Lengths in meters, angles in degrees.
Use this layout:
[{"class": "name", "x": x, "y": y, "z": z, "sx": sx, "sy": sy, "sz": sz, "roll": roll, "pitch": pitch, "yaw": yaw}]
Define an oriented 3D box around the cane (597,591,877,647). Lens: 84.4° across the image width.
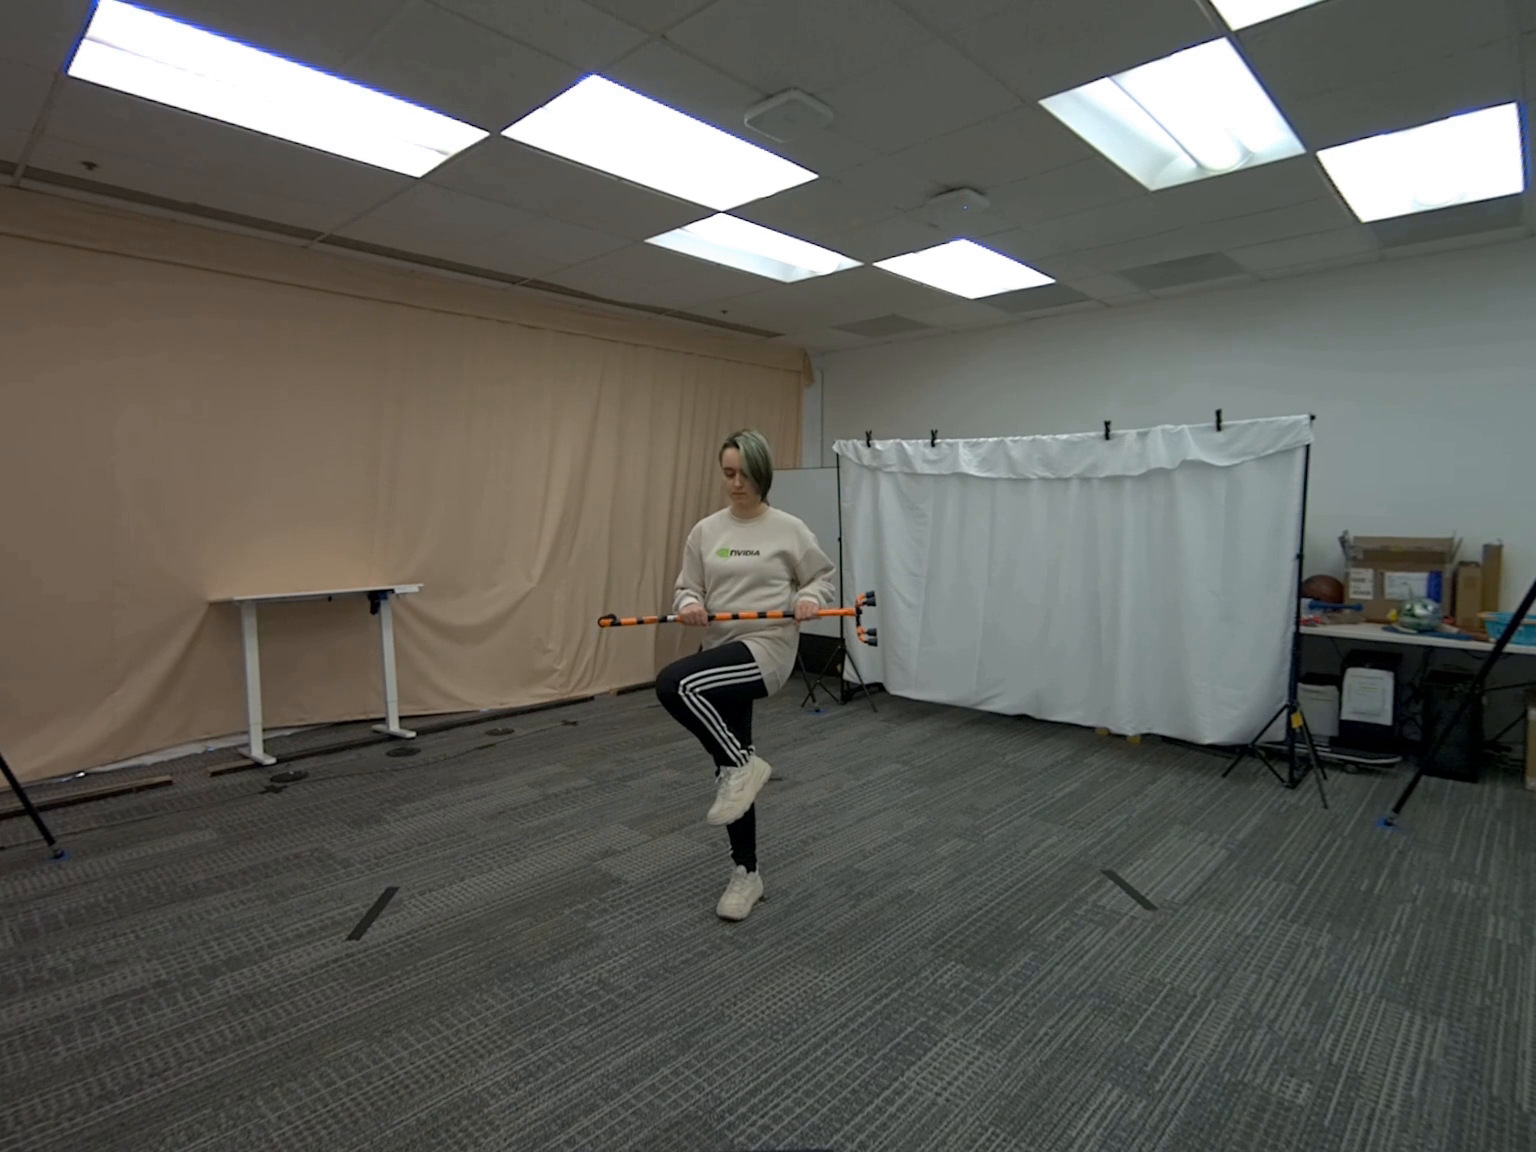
[{"class": "cane", "x": -0.107, "y": 0.152, "z": 2.687, "sx": 0.915, "sy": 0.151, "sz": 0.205, "roll": -2, "pitch": 6, "yaw": 7}]
